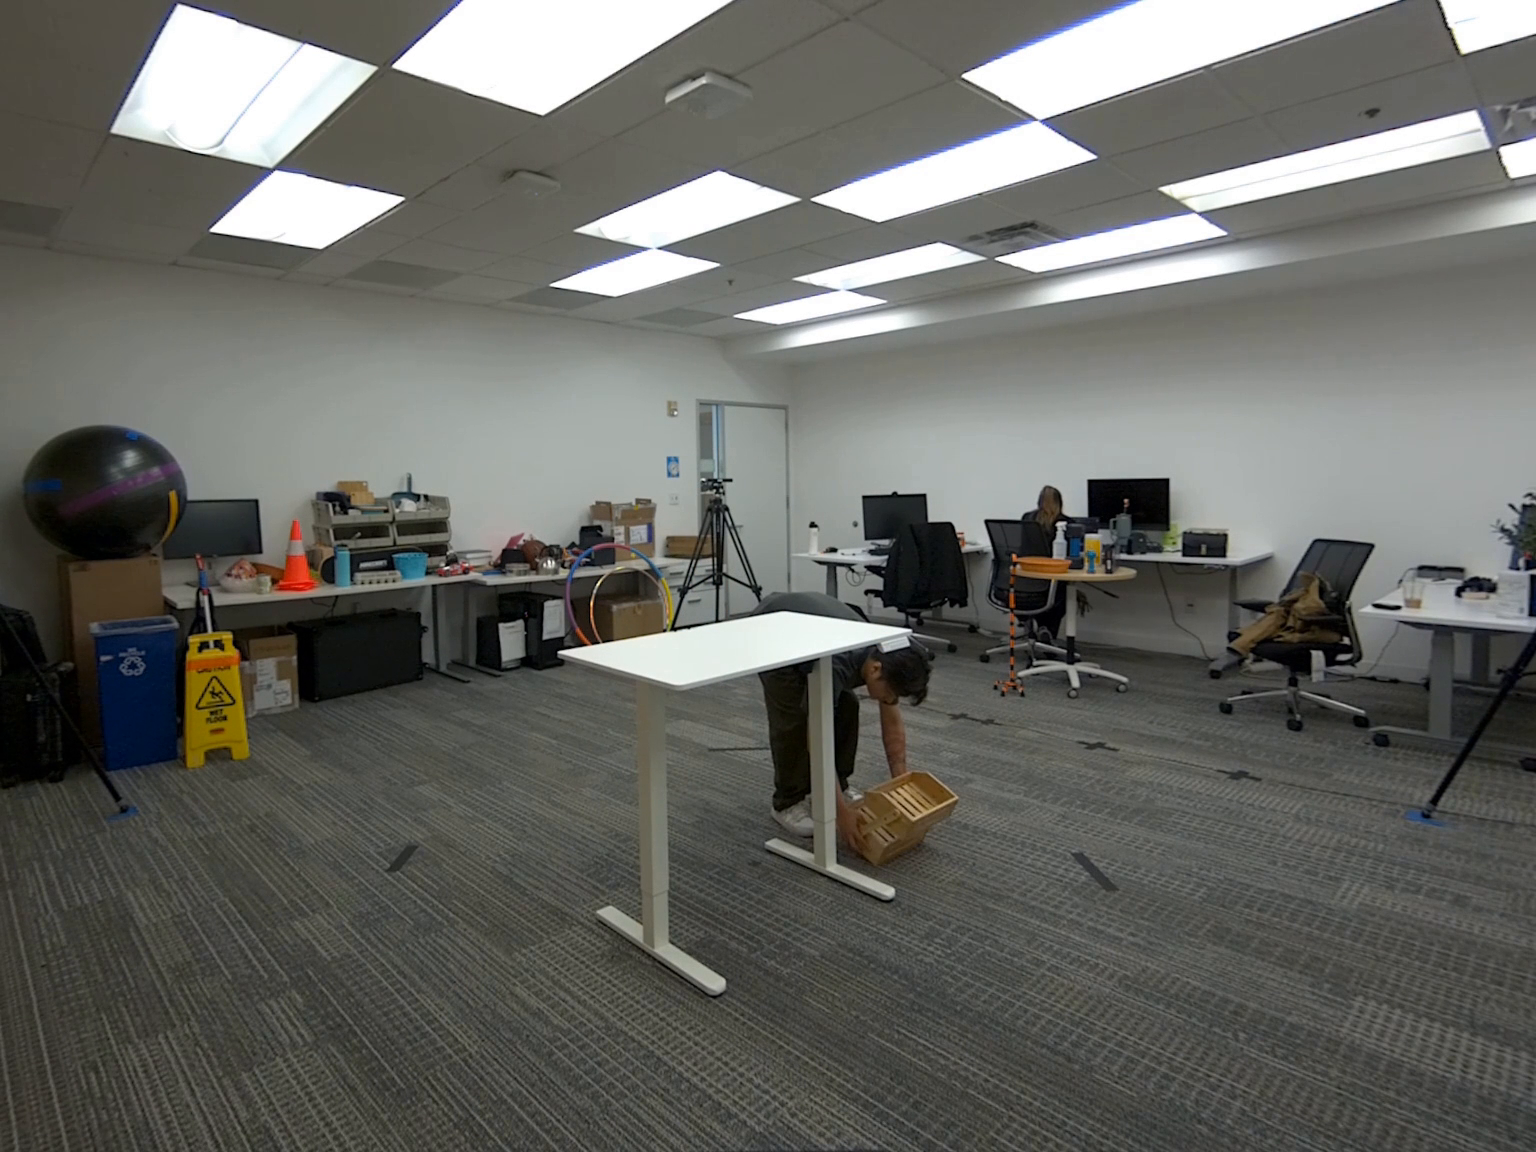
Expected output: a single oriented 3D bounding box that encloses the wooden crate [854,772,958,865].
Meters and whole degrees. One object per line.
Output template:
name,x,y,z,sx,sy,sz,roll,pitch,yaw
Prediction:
wooden crate,0.468,0.866,3.189,0.316,0.270,0.313,-8,35,-46
